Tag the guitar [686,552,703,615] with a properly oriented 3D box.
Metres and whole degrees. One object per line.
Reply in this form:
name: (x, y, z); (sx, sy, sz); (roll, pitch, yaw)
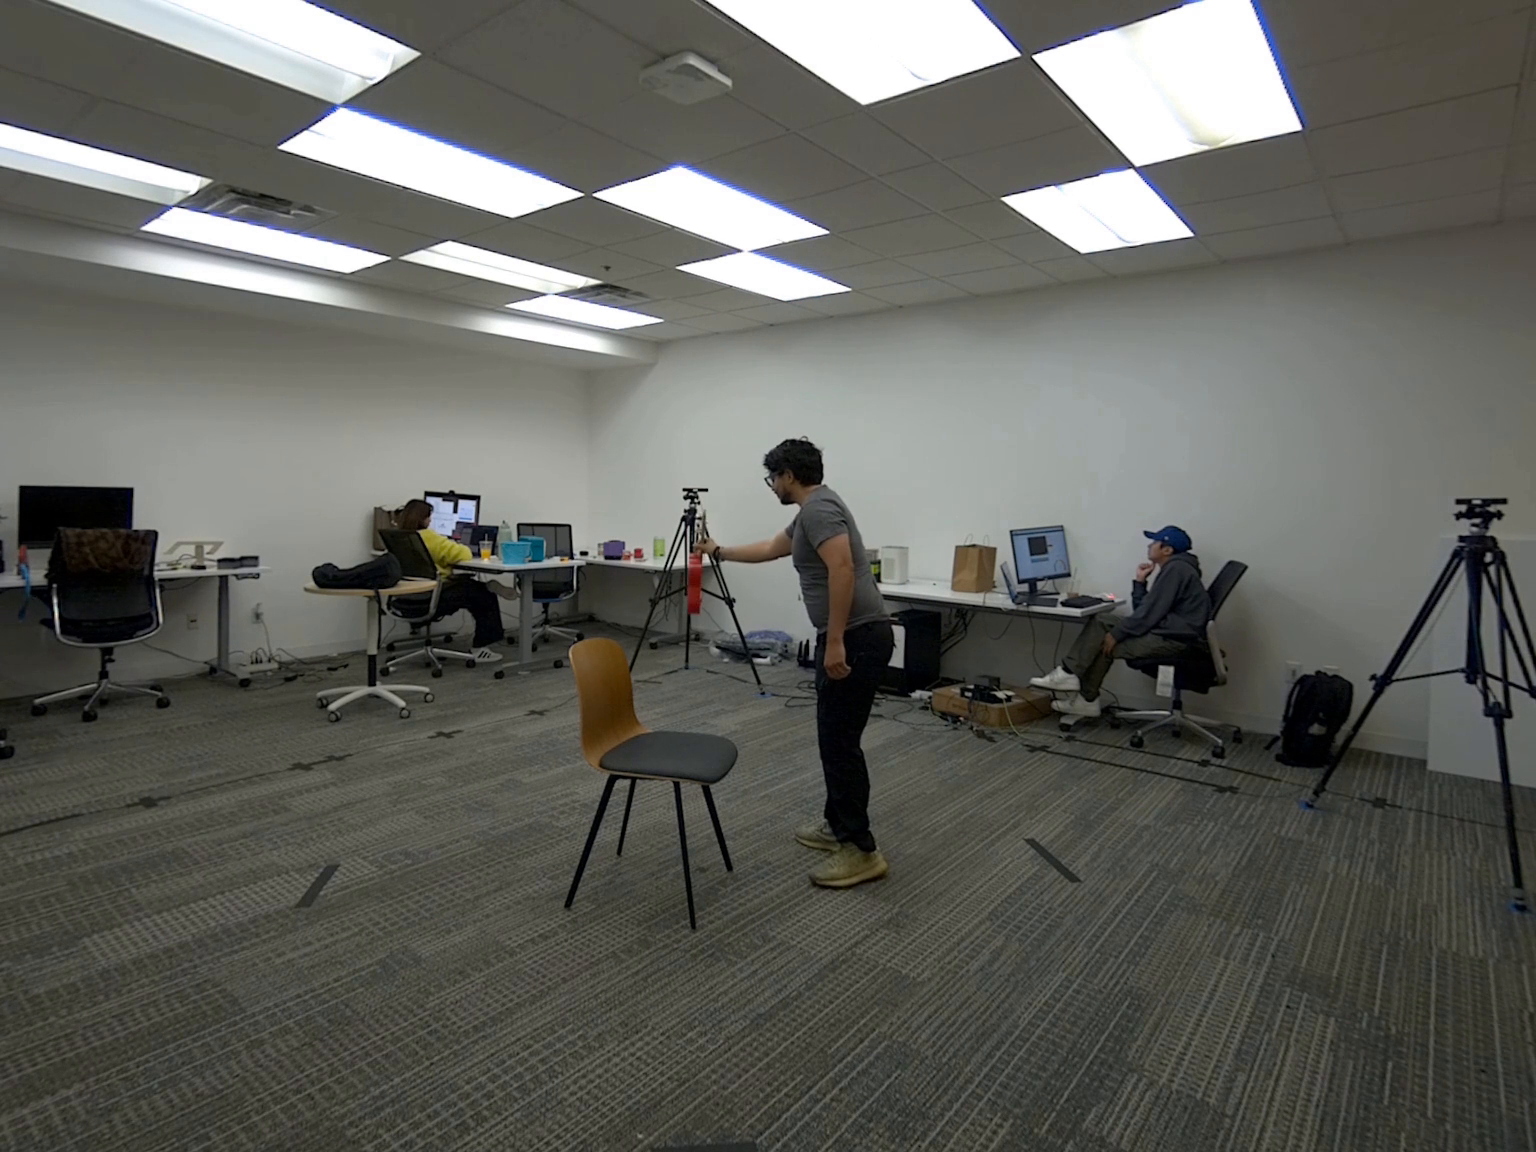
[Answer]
guitar: (-0.327, -0.087, 3.817); (0.071, 0.492, 0.195); (4, 14, 0)
